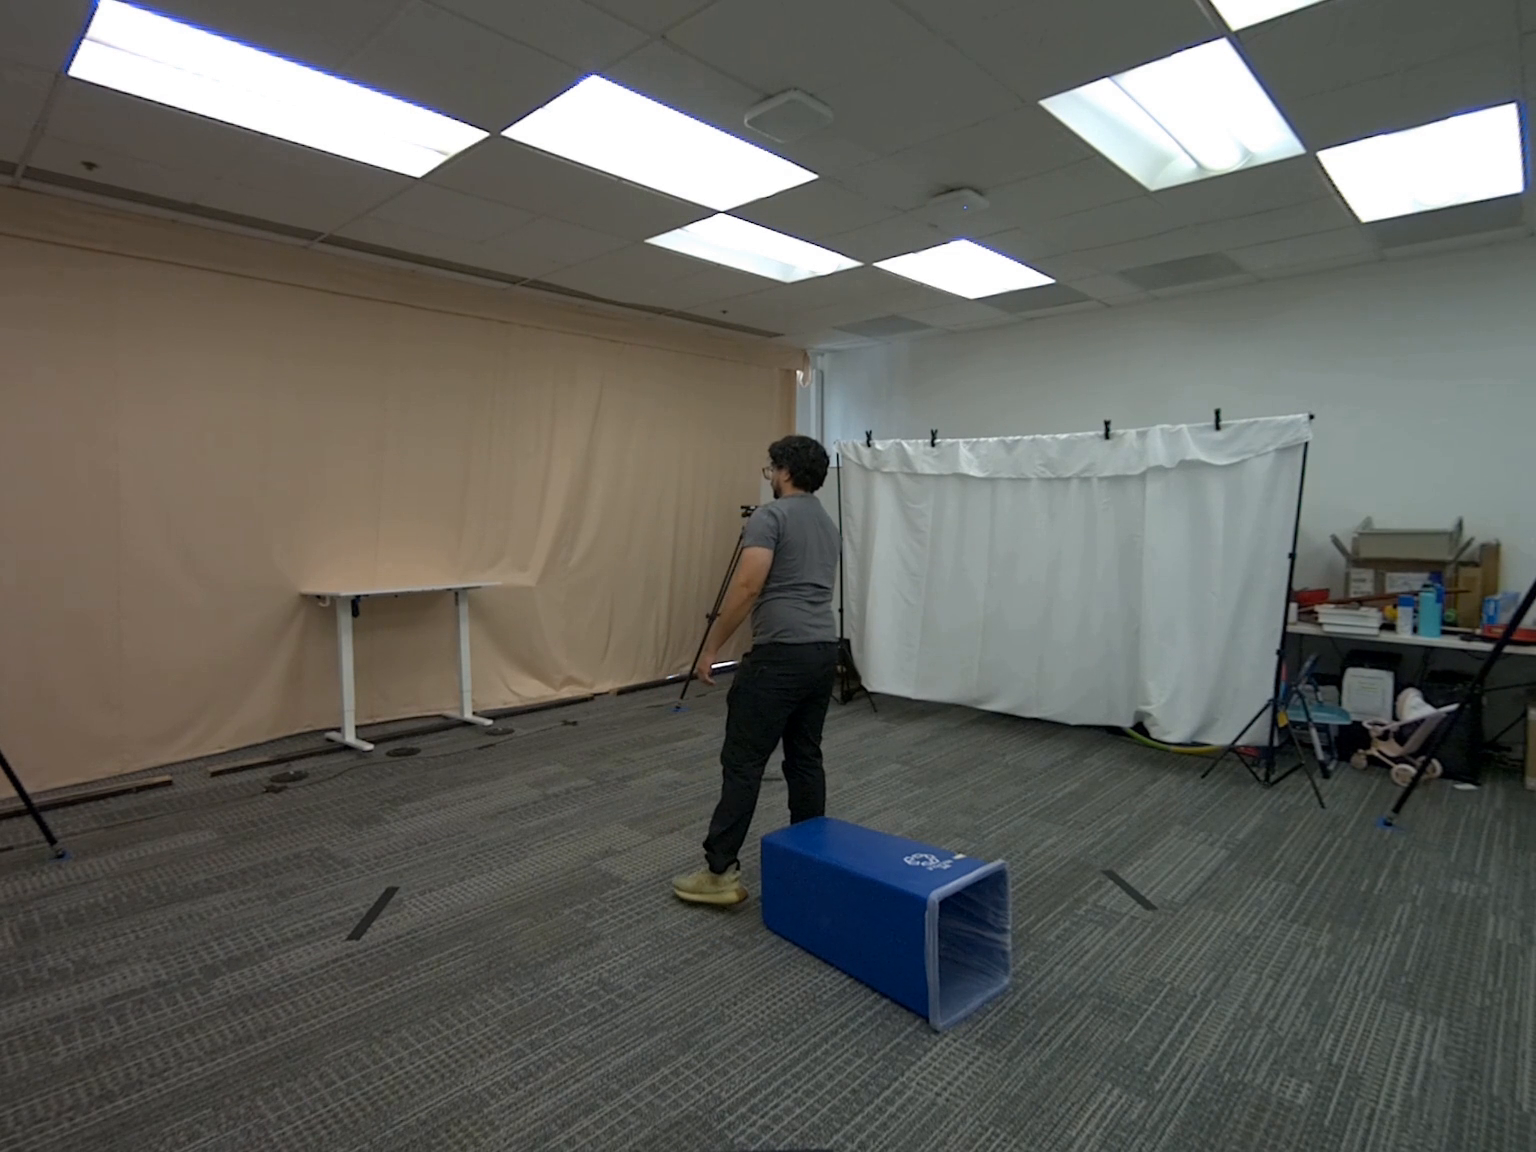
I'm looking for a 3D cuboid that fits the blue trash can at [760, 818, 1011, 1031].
[{"bbox_3d":[0.336,1.000,2.590,0.366,0.373,0.737,-3,4,-41],"label":"blue trash can"}]
